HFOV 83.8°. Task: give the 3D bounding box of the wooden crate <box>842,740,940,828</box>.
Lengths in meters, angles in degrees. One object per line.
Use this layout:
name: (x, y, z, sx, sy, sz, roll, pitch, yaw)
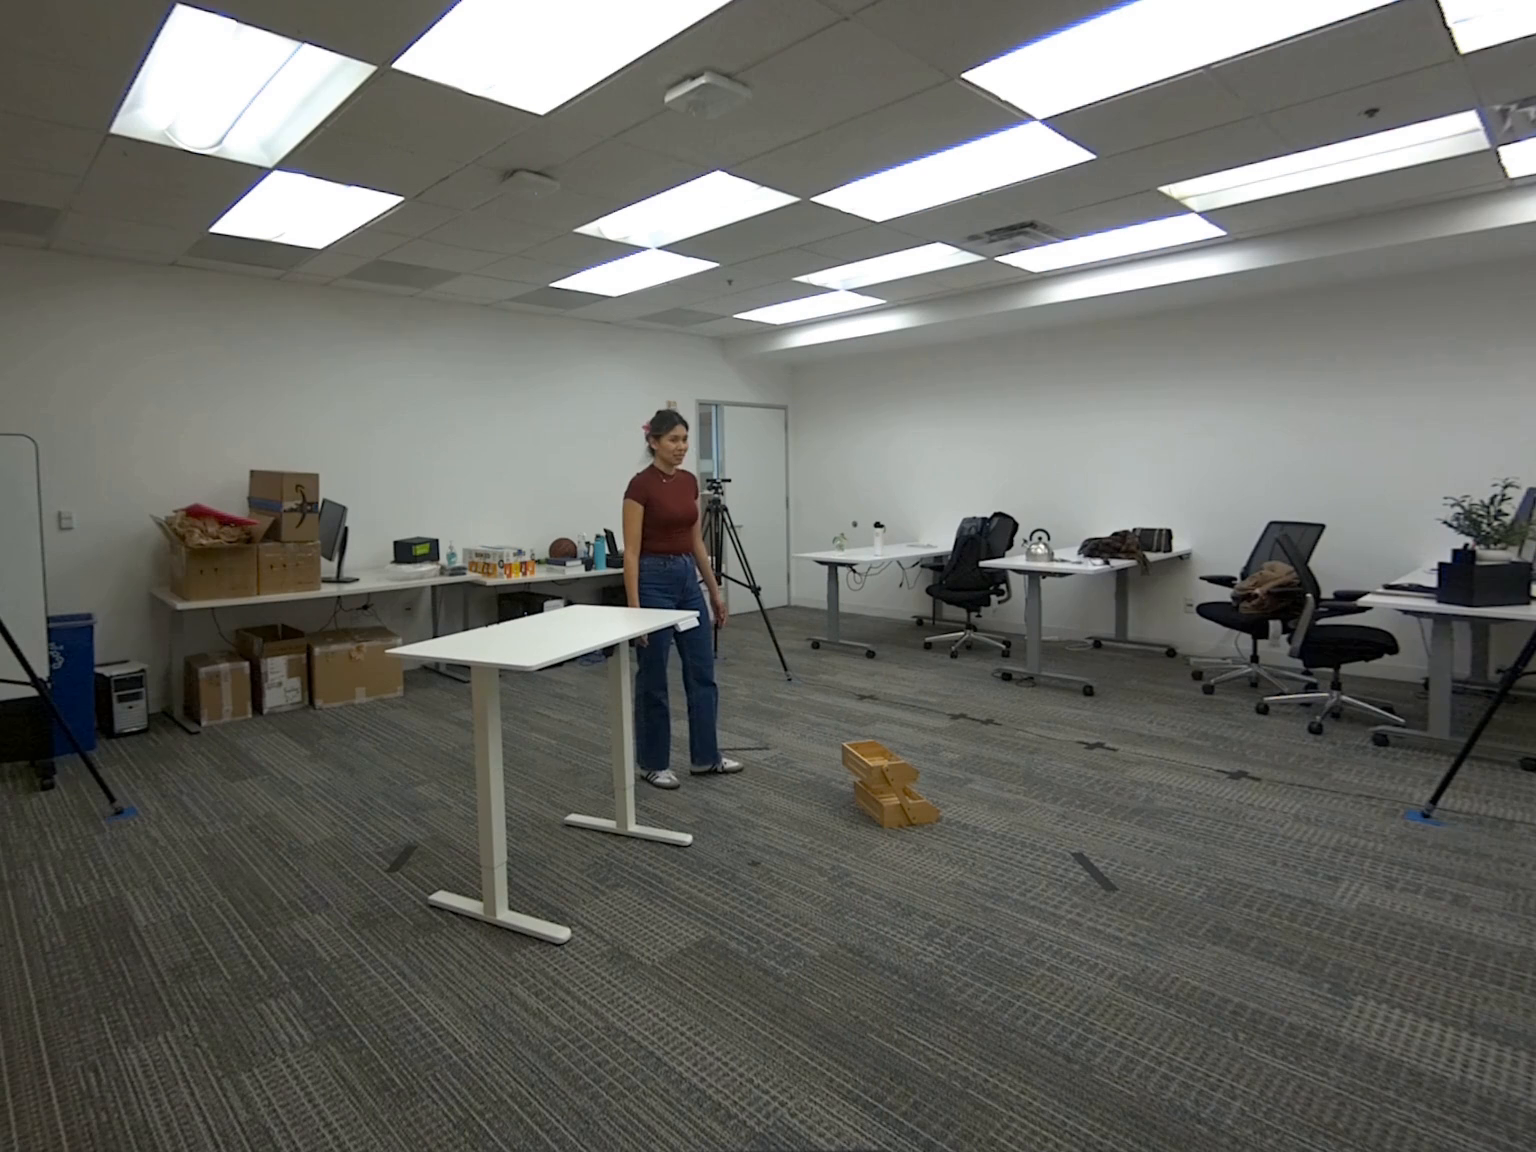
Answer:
wooden crate: (0.514, 0.850, 3.568, 0.297, 0.272, 0.331, -1, 5, -17)
